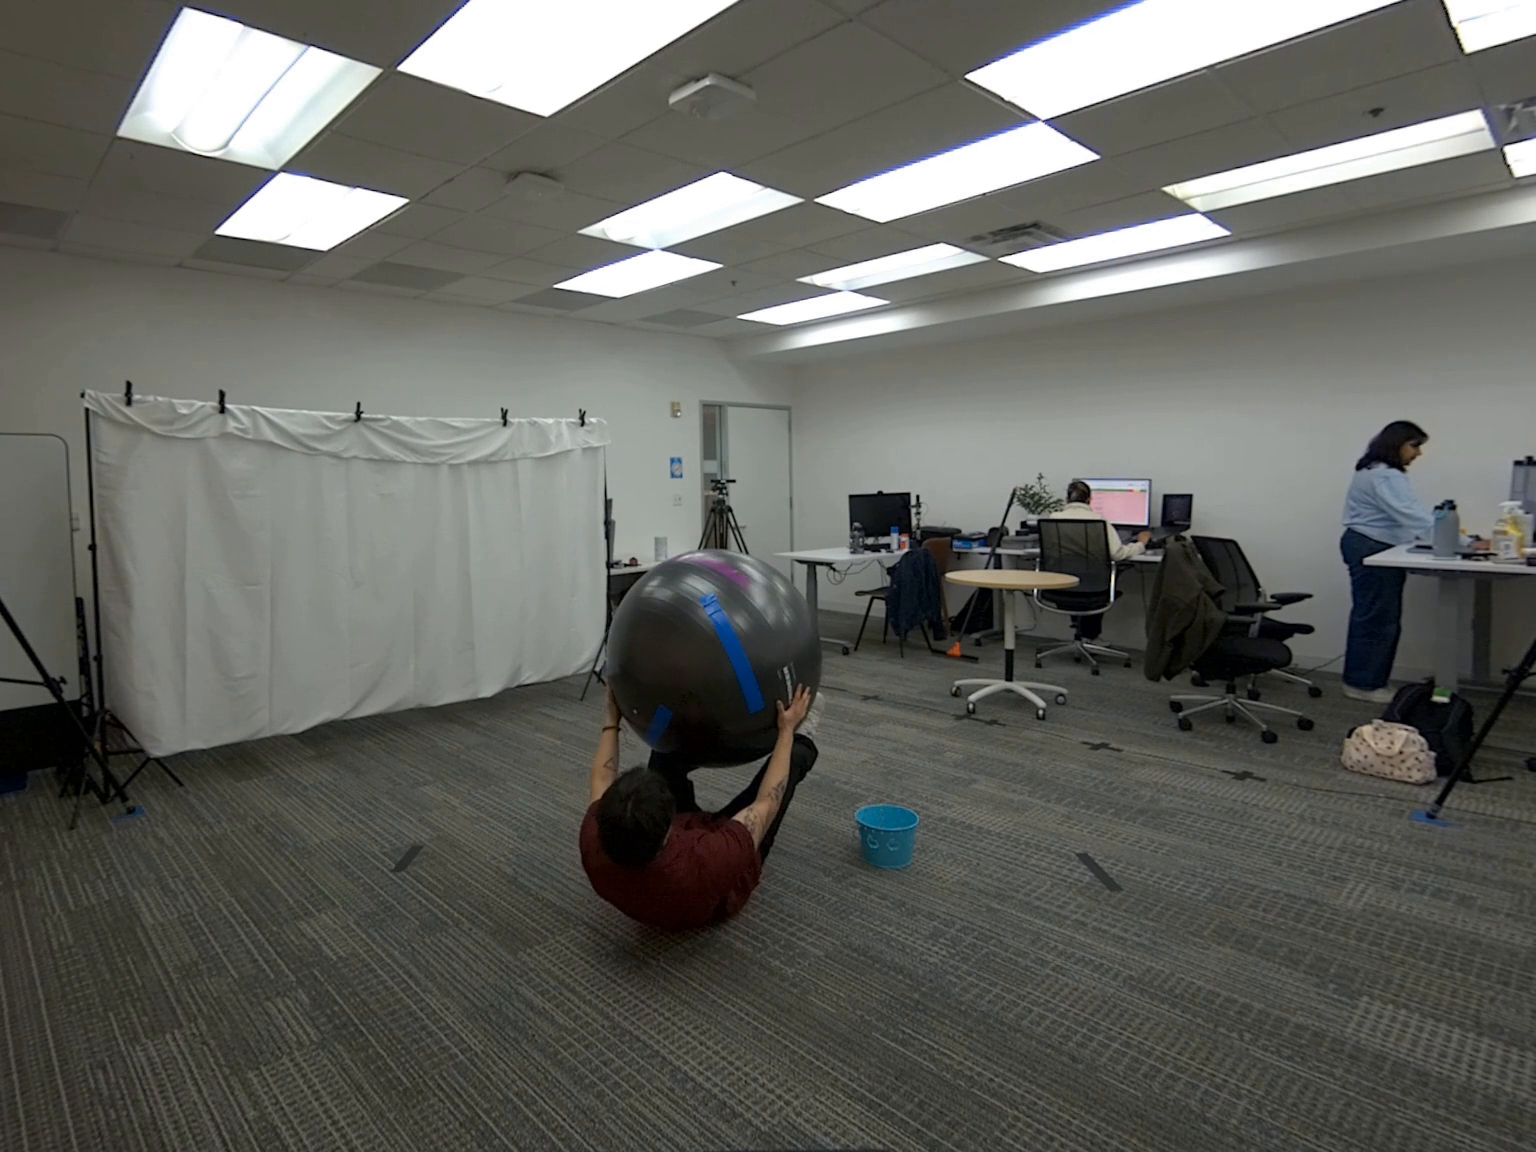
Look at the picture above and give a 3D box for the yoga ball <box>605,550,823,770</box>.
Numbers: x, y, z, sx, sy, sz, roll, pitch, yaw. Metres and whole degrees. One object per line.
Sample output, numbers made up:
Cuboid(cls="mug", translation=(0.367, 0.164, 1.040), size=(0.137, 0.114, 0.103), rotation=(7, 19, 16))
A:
Cuboid(cls="yoga ball", translation=(-0.190, 0.291, 3.009), size=(0.757, 0.755, 0.762), rotation=(-1, 5, -2))
